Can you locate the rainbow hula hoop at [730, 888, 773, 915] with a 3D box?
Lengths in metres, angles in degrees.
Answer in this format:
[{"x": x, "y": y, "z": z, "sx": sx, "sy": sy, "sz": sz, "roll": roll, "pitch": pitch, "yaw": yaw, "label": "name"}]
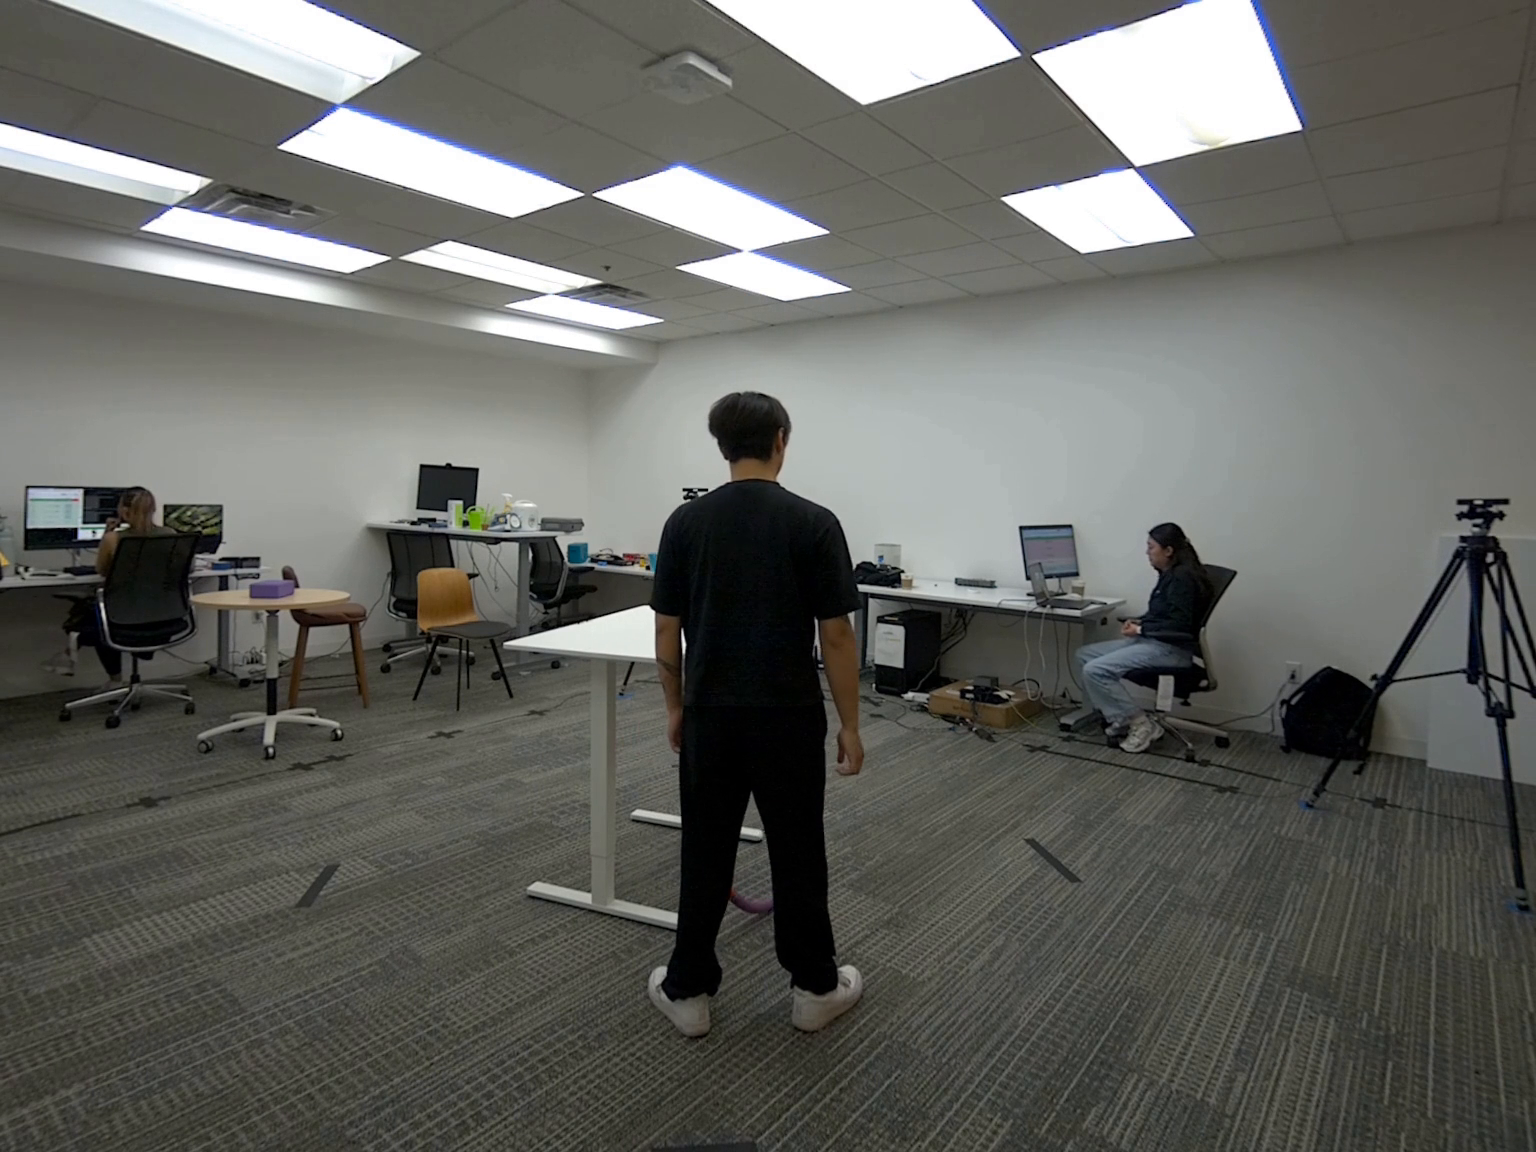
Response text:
[{"x": -0.053, "y": 0.620, "z": 2.918, "sx": 0.036, "sy": 0.981, "sz": 0.960, "roll": -11, "pitch": -1, "yaw": 20, "label": "rainbow hula hoop"}]
